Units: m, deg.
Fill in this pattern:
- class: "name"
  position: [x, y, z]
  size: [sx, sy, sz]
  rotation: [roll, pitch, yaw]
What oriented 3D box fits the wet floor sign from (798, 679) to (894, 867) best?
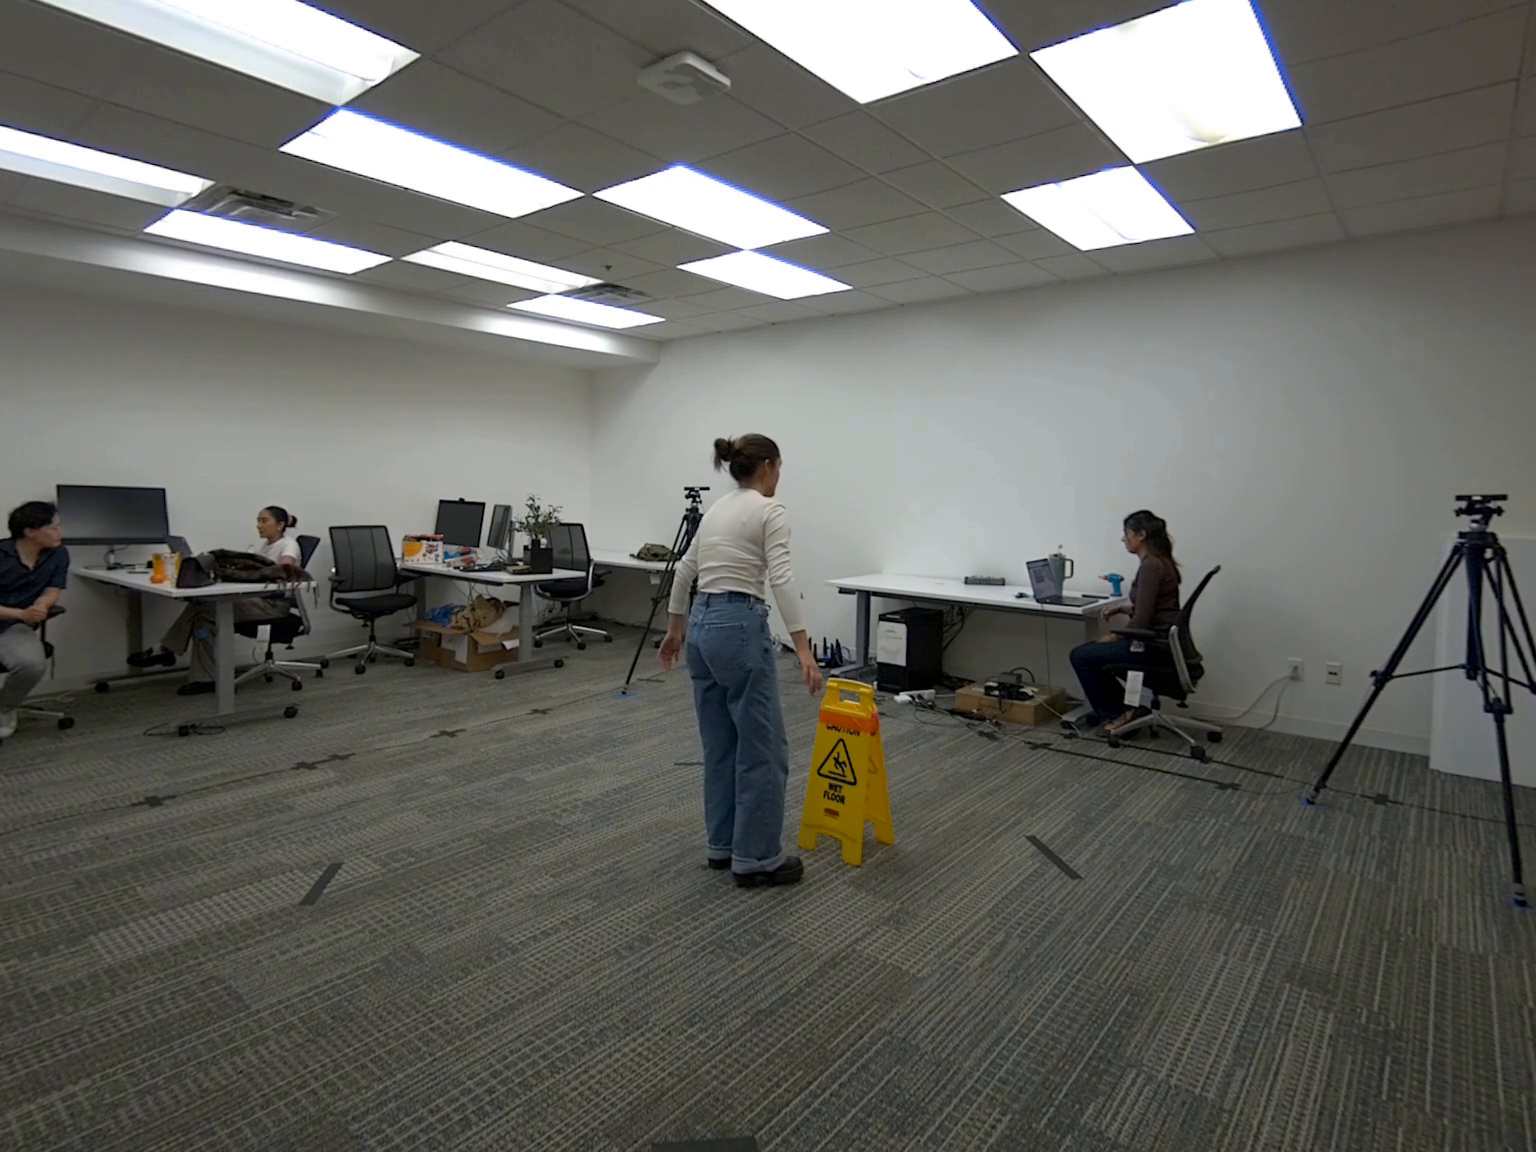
- class: "wet floor sign"
  position: [0.299, 0.731, 3.314]
  size: [0.291, 0.644, 0.281]
  rotation: [3, 5, 38]
